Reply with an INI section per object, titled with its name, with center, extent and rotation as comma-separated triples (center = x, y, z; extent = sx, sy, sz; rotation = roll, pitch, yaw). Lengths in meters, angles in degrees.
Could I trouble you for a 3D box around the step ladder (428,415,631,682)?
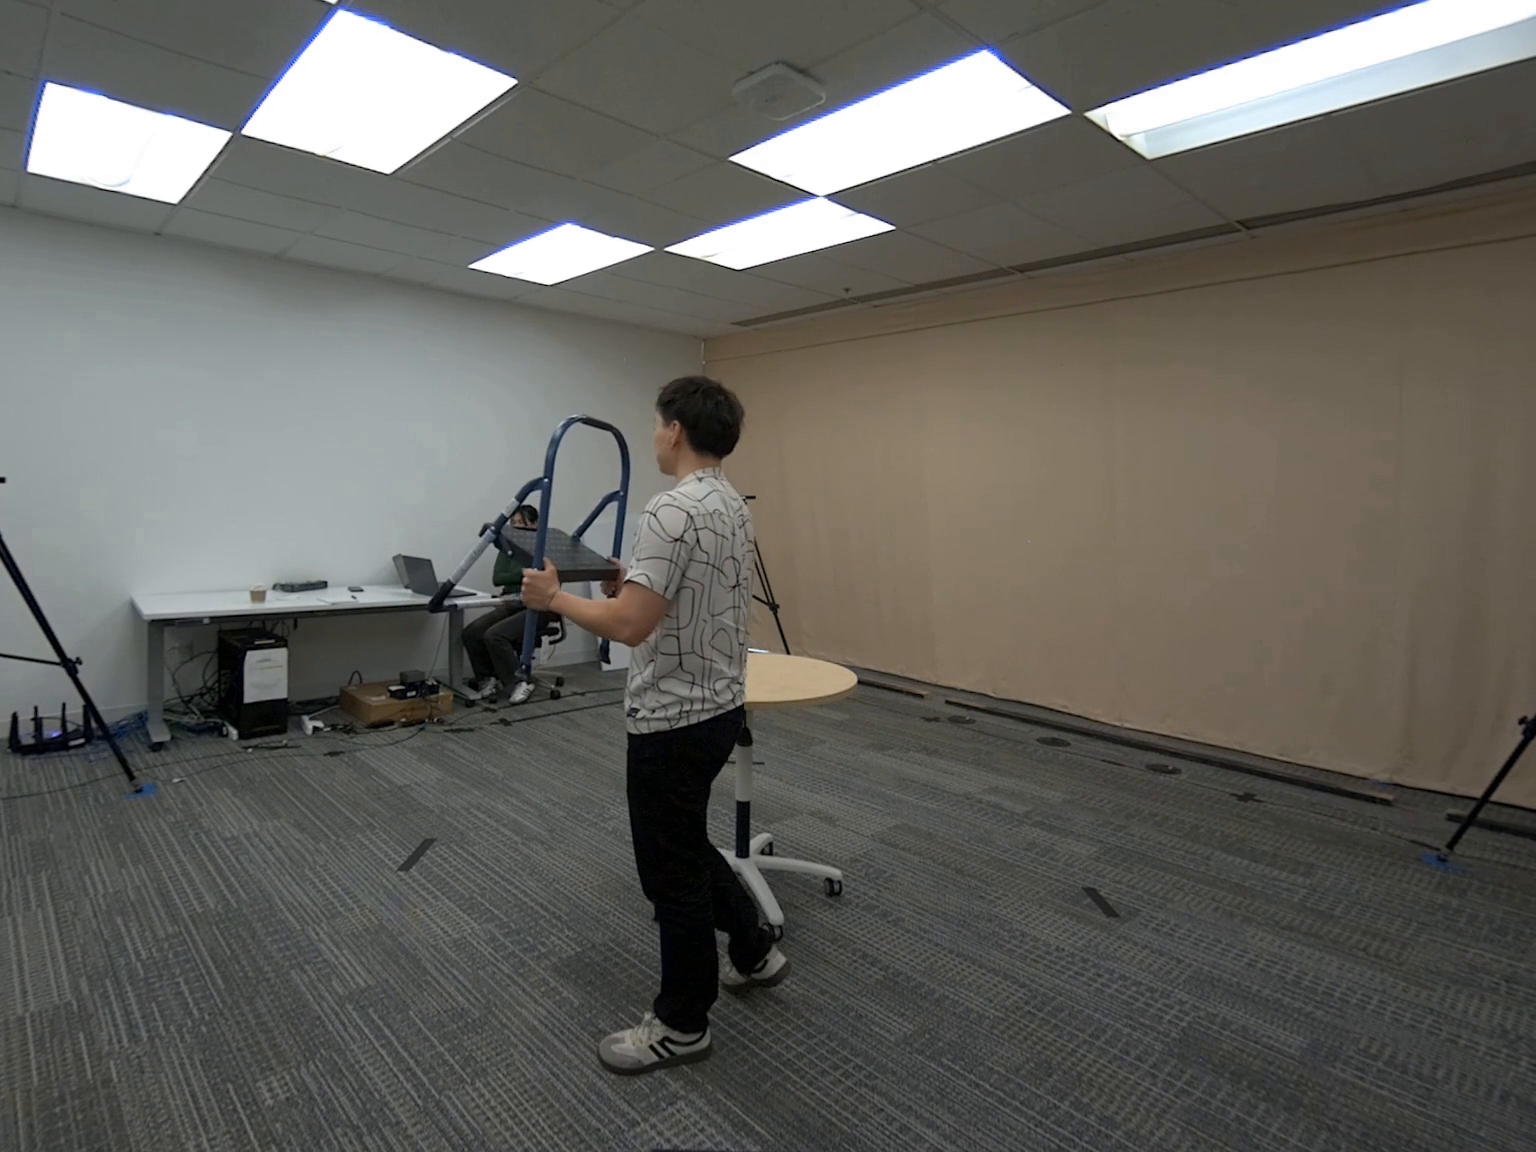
[step ladder]
center = -0.519, -0.100, 2.181
extent = 0.355, 0.604, 0.424
rotation = 29, 9, 15
